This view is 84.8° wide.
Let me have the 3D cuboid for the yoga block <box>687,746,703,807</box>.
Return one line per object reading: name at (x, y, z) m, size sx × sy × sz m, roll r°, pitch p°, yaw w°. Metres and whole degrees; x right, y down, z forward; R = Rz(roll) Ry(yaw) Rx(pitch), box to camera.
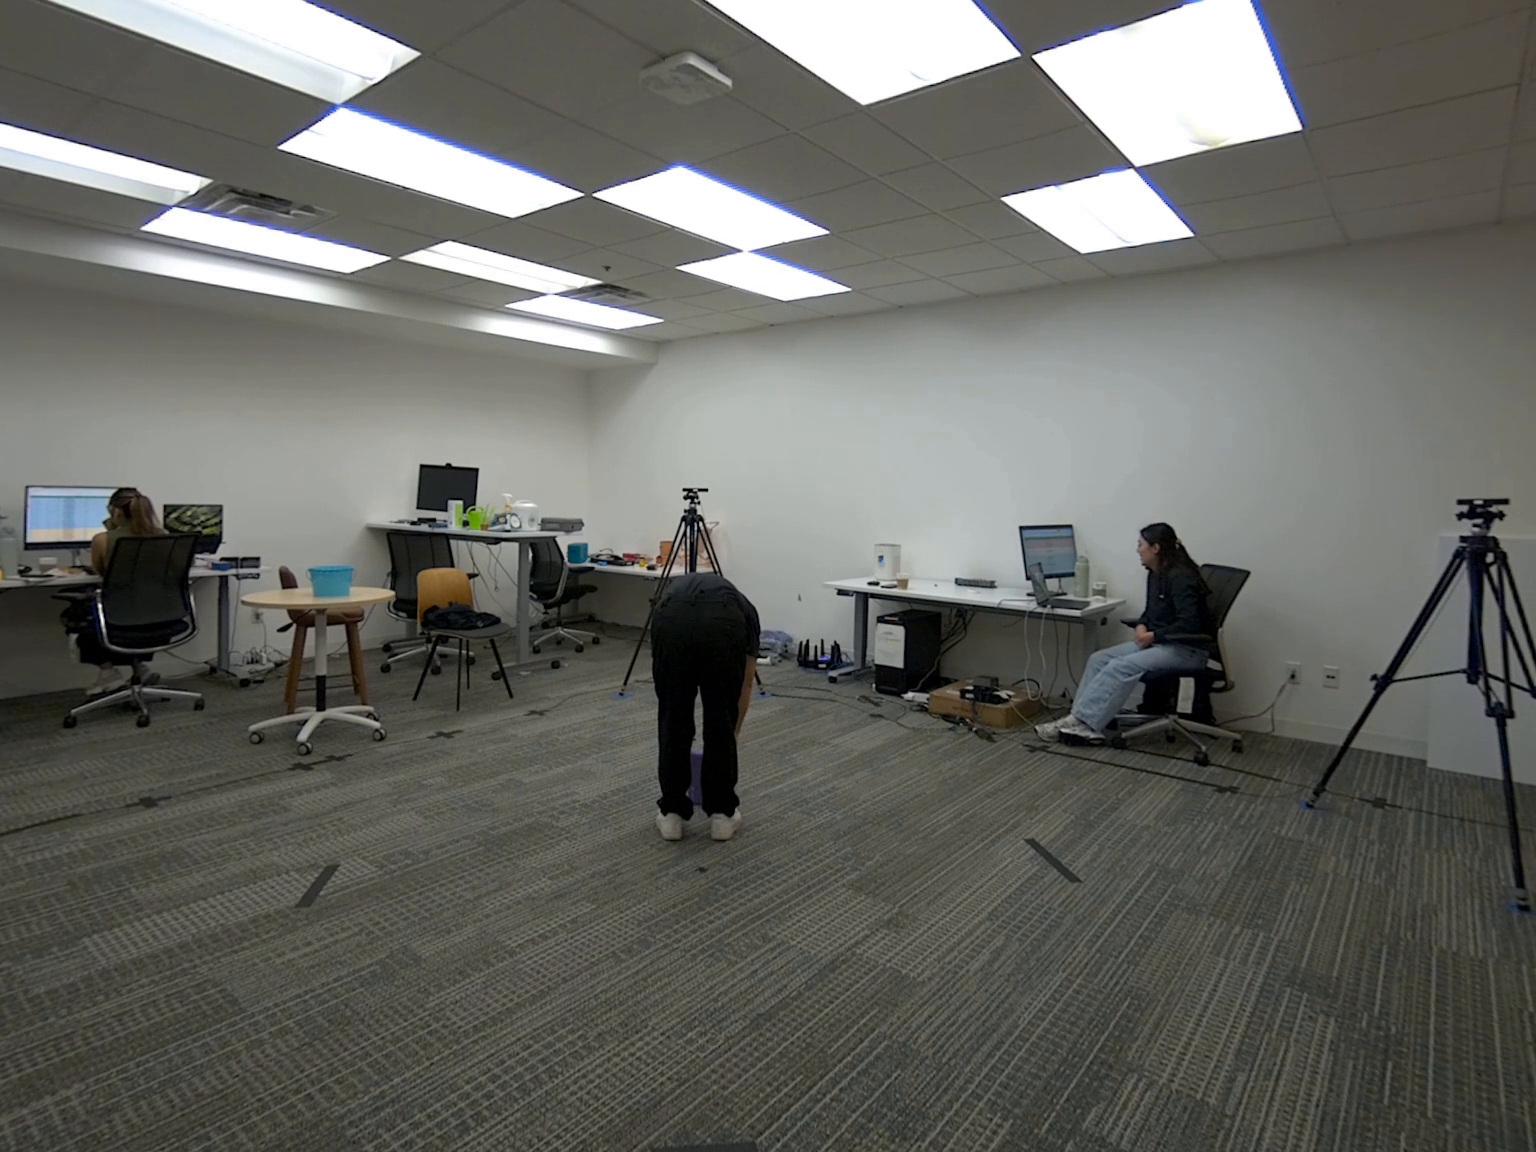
yoga block at (-0.287, 0.885, 3.761) m, size 0.150 × 0.229 × 0.076 m, roll 1°, pitch 2°, yaw 4°
